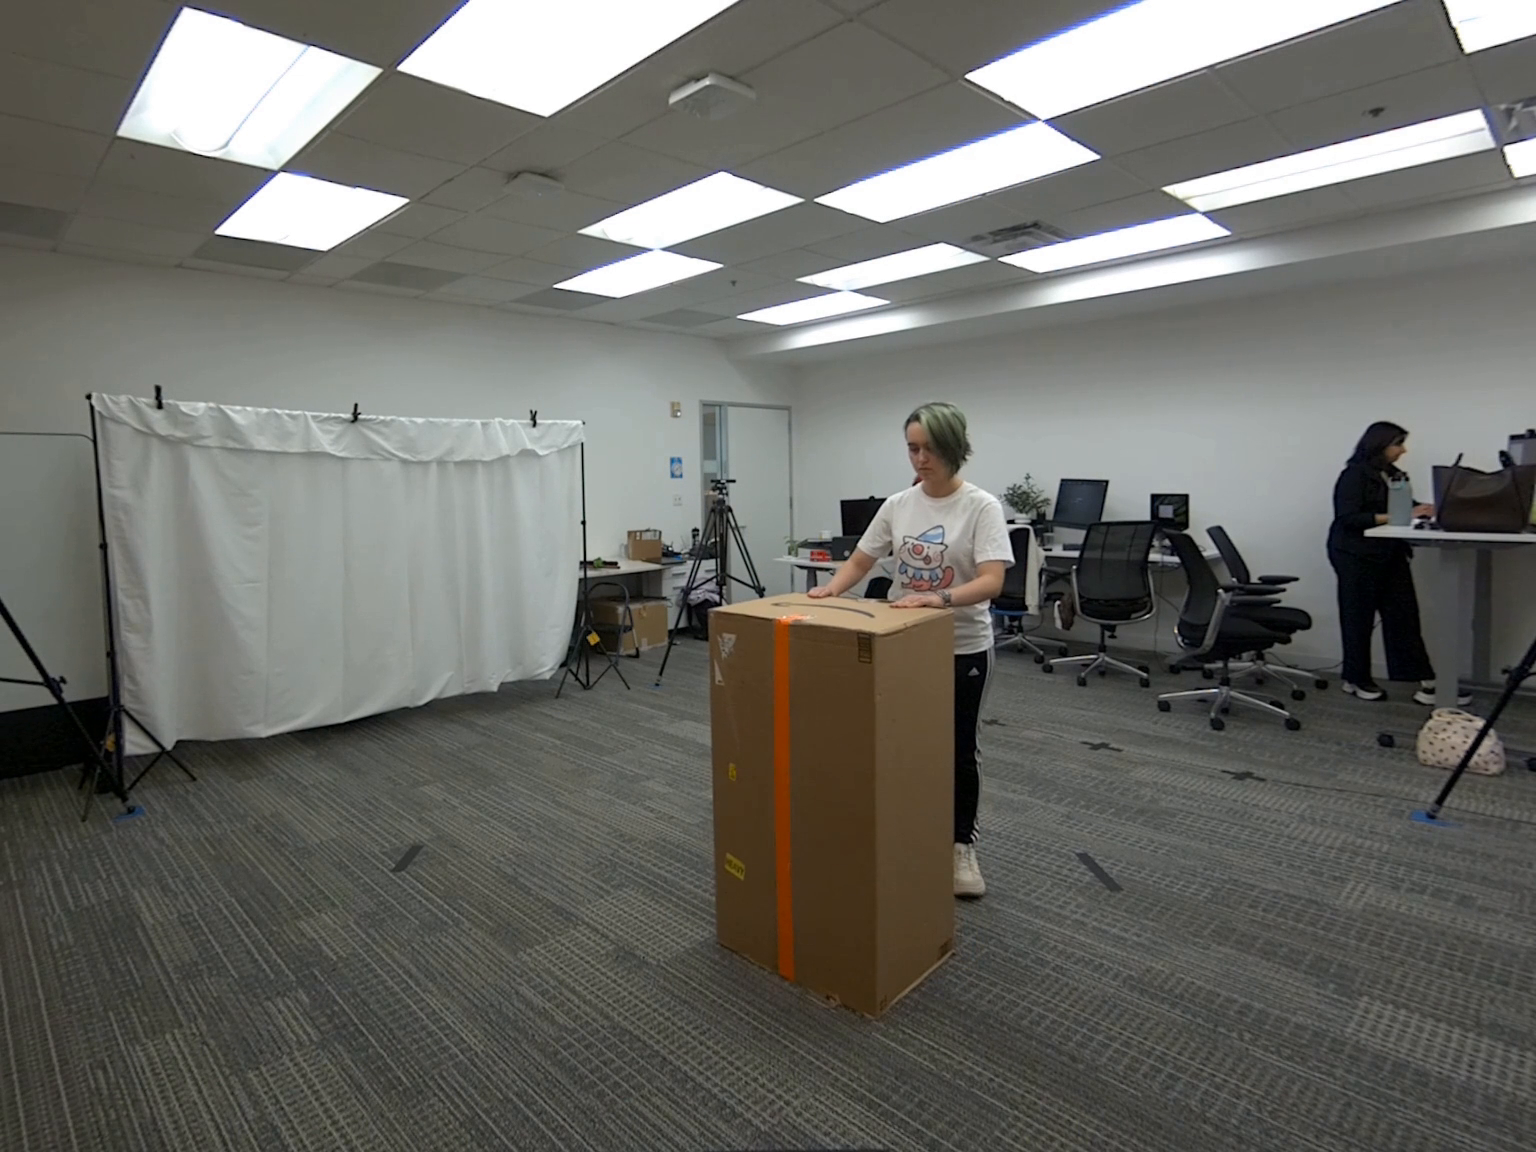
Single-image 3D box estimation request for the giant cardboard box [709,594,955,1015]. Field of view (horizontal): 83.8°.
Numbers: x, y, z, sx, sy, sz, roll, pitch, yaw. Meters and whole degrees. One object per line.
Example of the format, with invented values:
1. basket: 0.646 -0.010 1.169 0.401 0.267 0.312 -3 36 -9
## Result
1. giant cardboard box: 0.182 0.608 2.501 0.602 1.023 0.435 4 6 41
